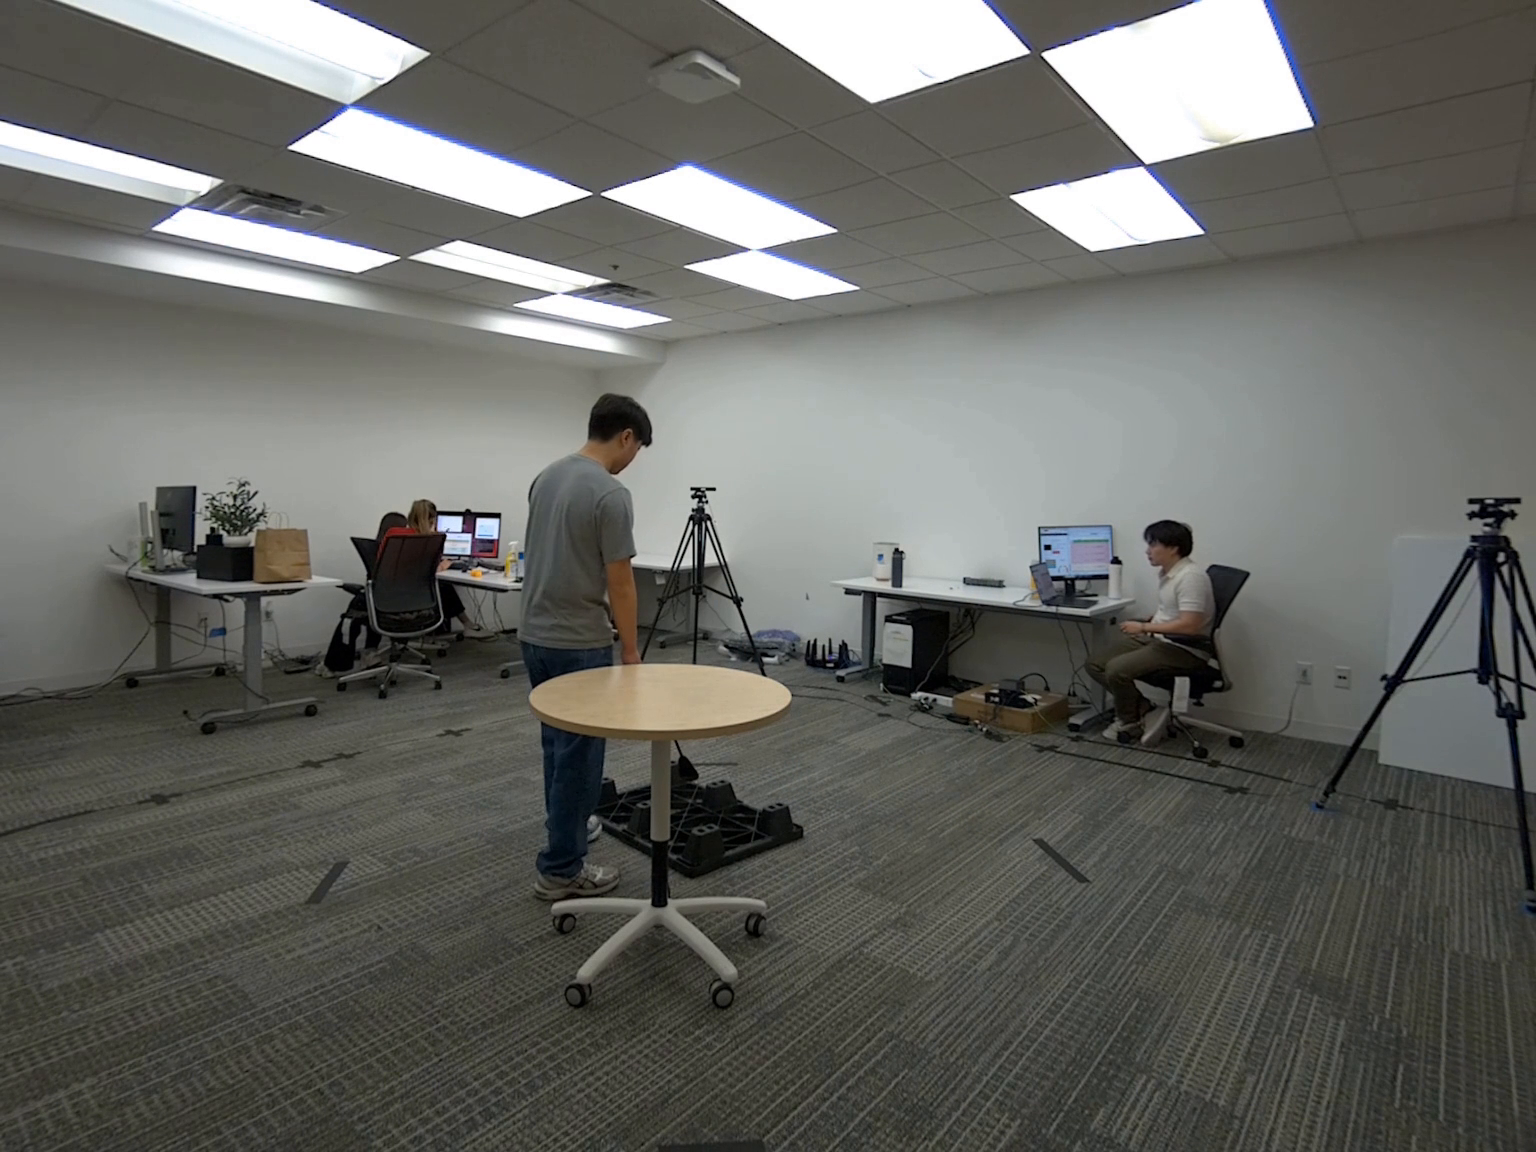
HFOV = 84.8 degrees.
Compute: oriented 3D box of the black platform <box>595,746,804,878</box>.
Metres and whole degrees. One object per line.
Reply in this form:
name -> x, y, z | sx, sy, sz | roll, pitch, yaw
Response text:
black platform -> -0.355, 0.959, 3.505 | 0.587, 0.143, 0.833 | -3, 7, -44
